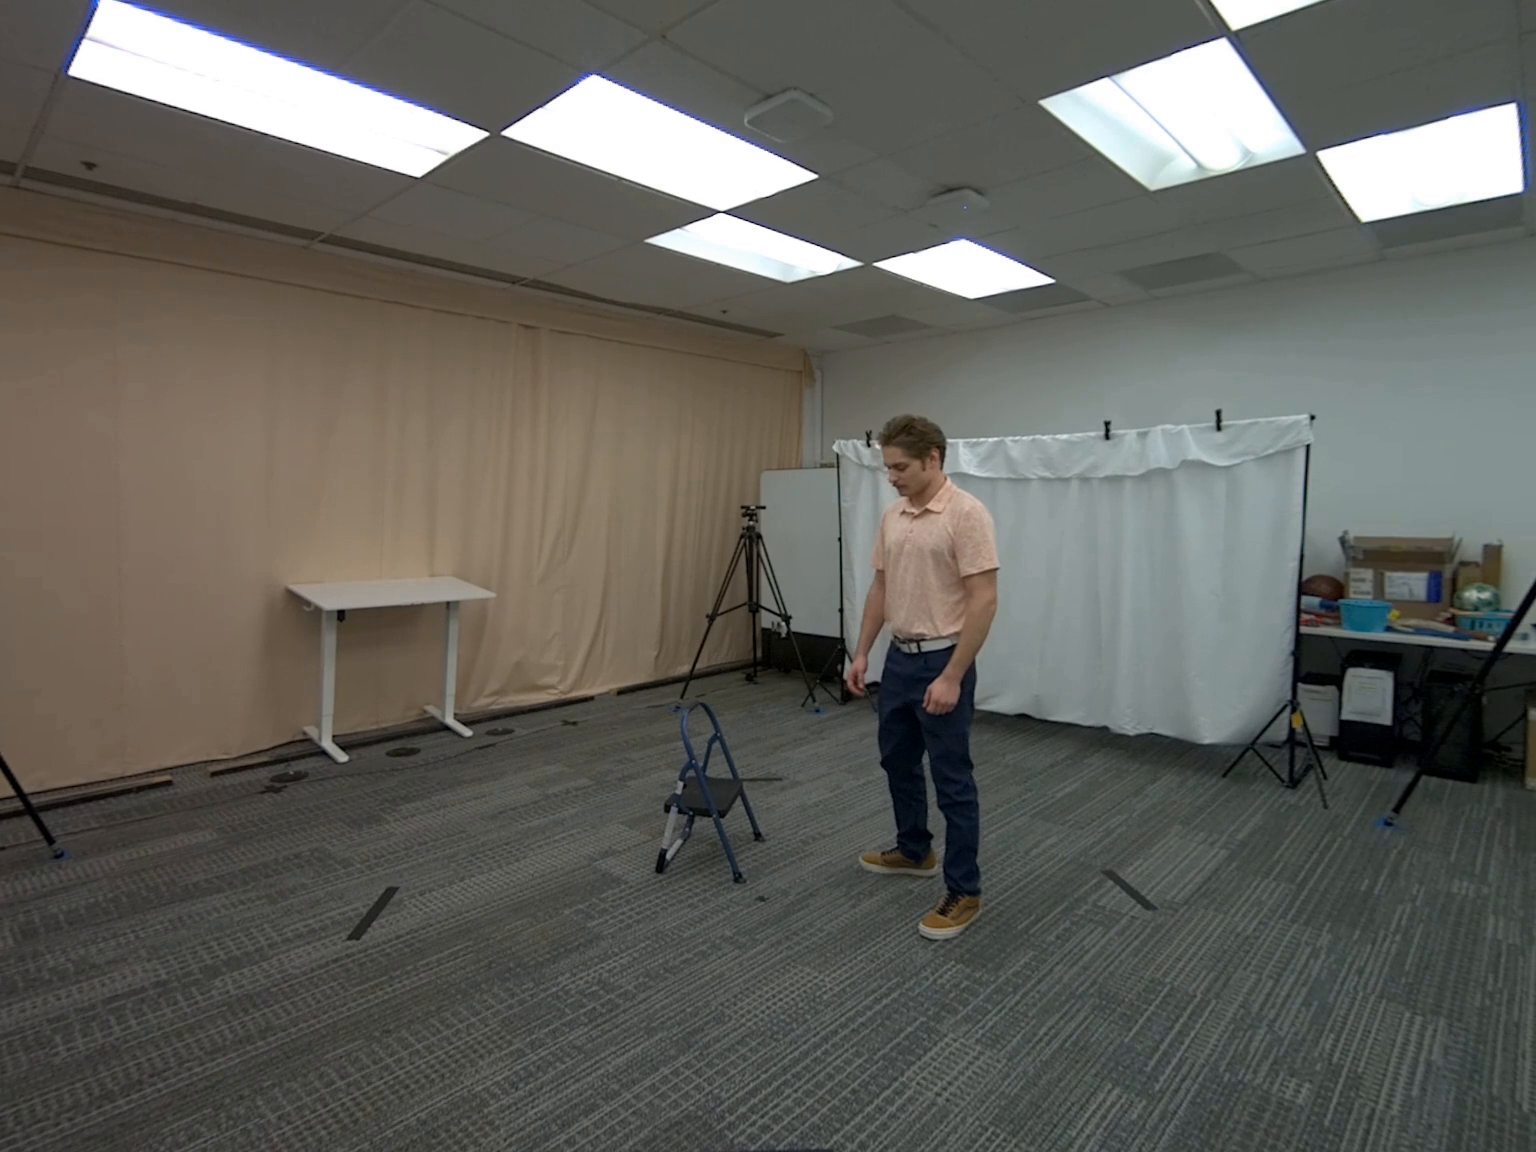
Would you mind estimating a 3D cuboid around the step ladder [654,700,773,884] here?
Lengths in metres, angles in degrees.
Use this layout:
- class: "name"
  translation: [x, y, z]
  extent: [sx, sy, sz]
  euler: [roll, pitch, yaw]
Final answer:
- class: "step ladder"
  translation: [-0.226, 0.813, 3.339]
  extent: [0.354, 0.605, 0.426]
  euler: [0, 3, 11]
